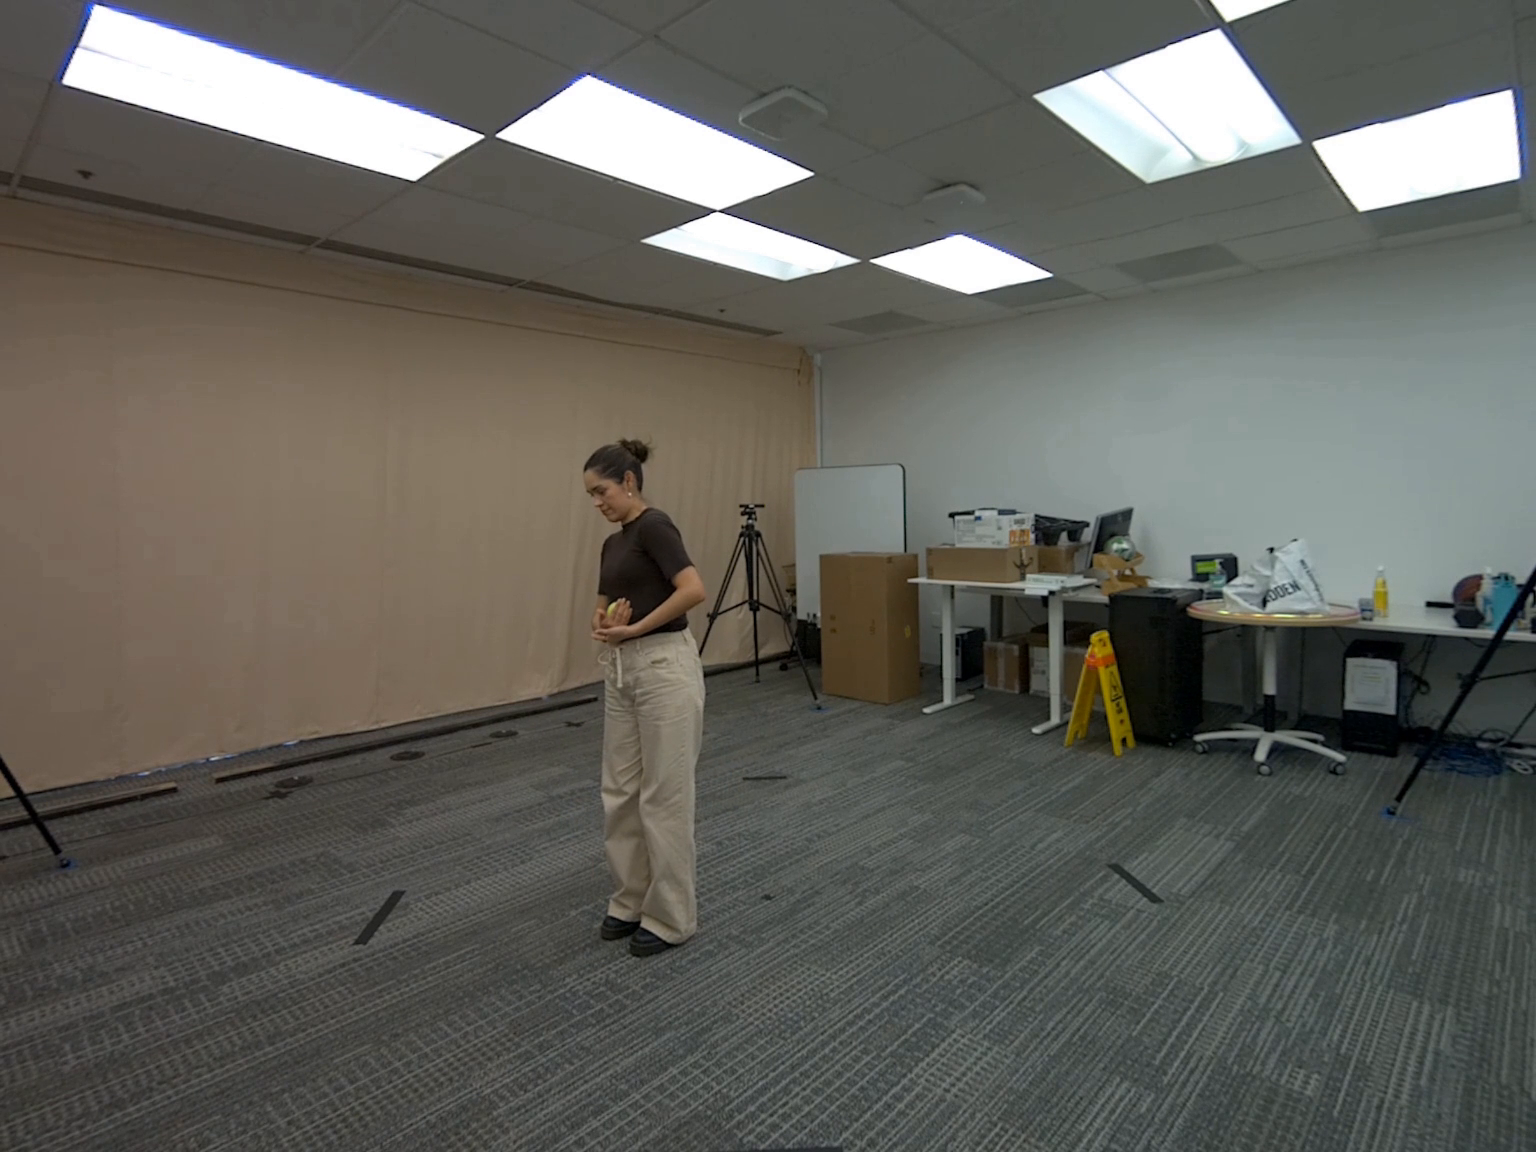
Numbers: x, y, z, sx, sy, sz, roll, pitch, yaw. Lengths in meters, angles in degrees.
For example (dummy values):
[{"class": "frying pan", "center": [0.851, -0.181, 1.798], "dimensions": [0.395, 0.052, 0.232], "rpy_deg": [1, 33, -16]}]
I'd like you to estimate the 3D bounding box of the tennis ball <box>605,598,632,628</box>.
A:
[{"class": "tennis ball", "center": [-0.460, 0.110, 2.649], "dimensions": [0.066, 0.066, 0.067], "rpy_deg": [-1, 4, -2]}]
